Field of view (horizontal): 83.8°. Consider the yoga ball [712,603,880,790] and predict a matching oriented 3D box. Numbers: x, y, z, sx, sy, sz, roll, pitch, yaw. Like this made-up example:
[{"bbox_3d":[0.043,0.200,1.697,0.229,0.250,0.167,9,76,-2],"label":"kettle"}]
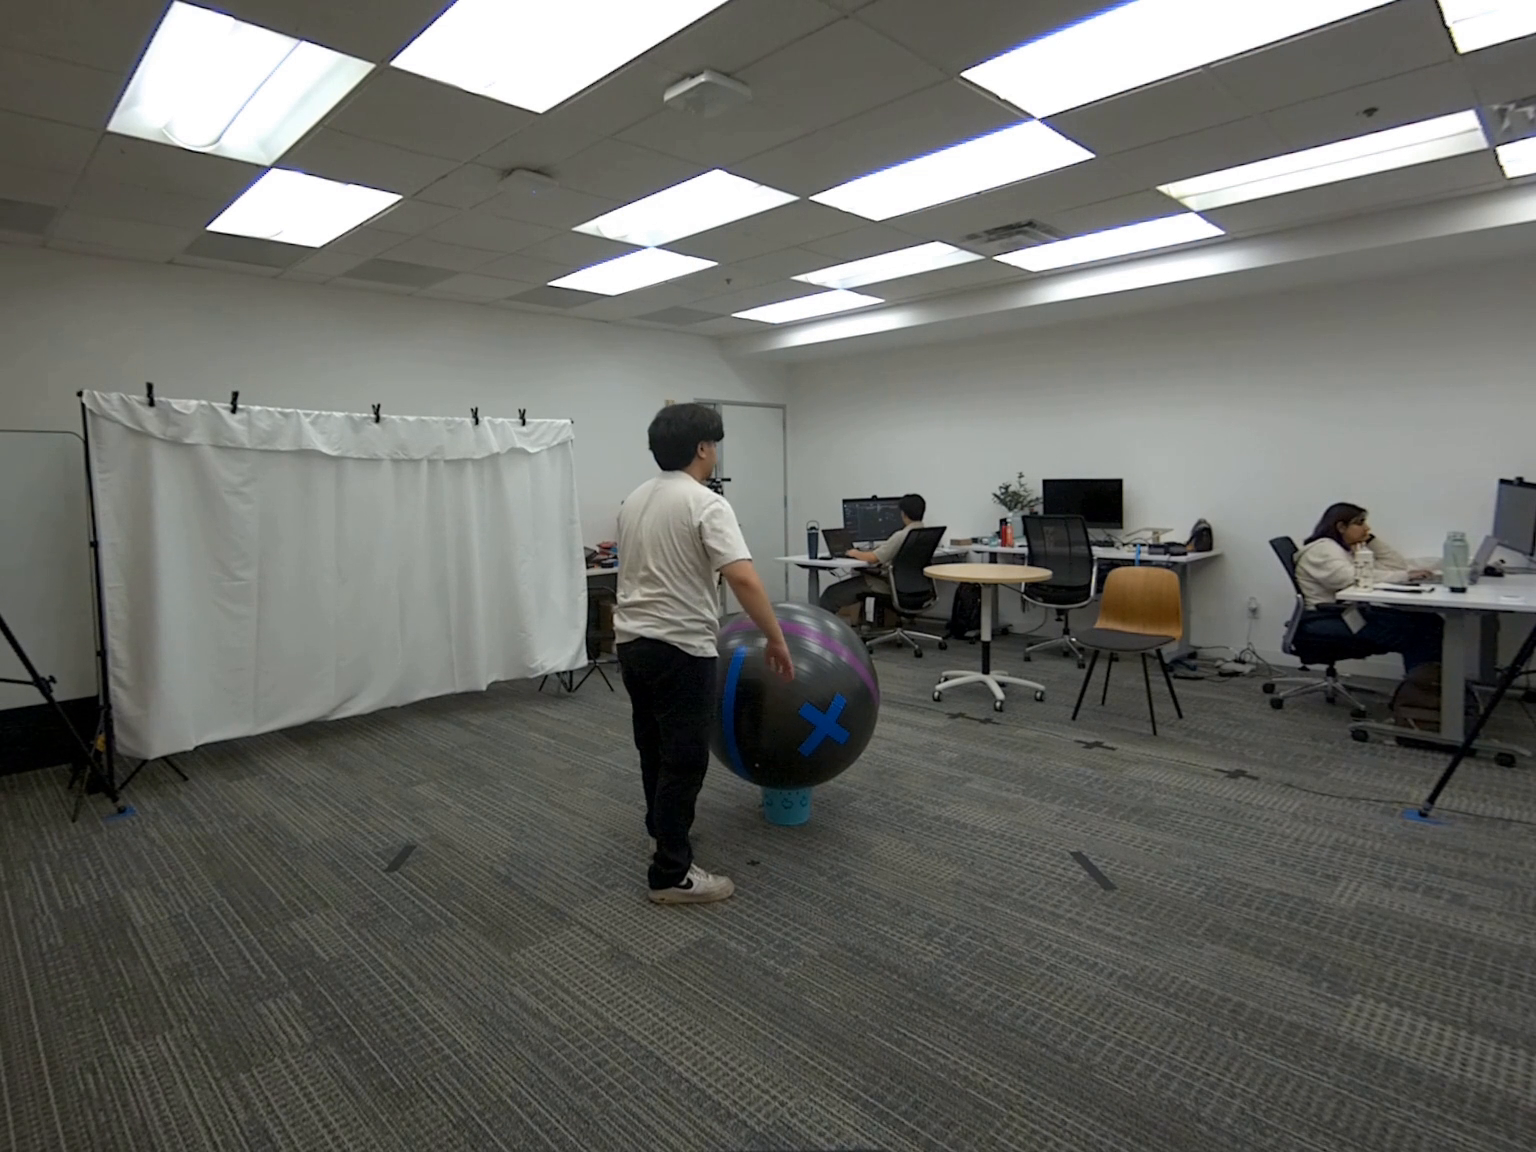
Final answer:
[{"bbox_3d":[0.077,0.491,3.500,0.757,0.755,0.762,-1,5,-2],"label":"yoga ball"}]
